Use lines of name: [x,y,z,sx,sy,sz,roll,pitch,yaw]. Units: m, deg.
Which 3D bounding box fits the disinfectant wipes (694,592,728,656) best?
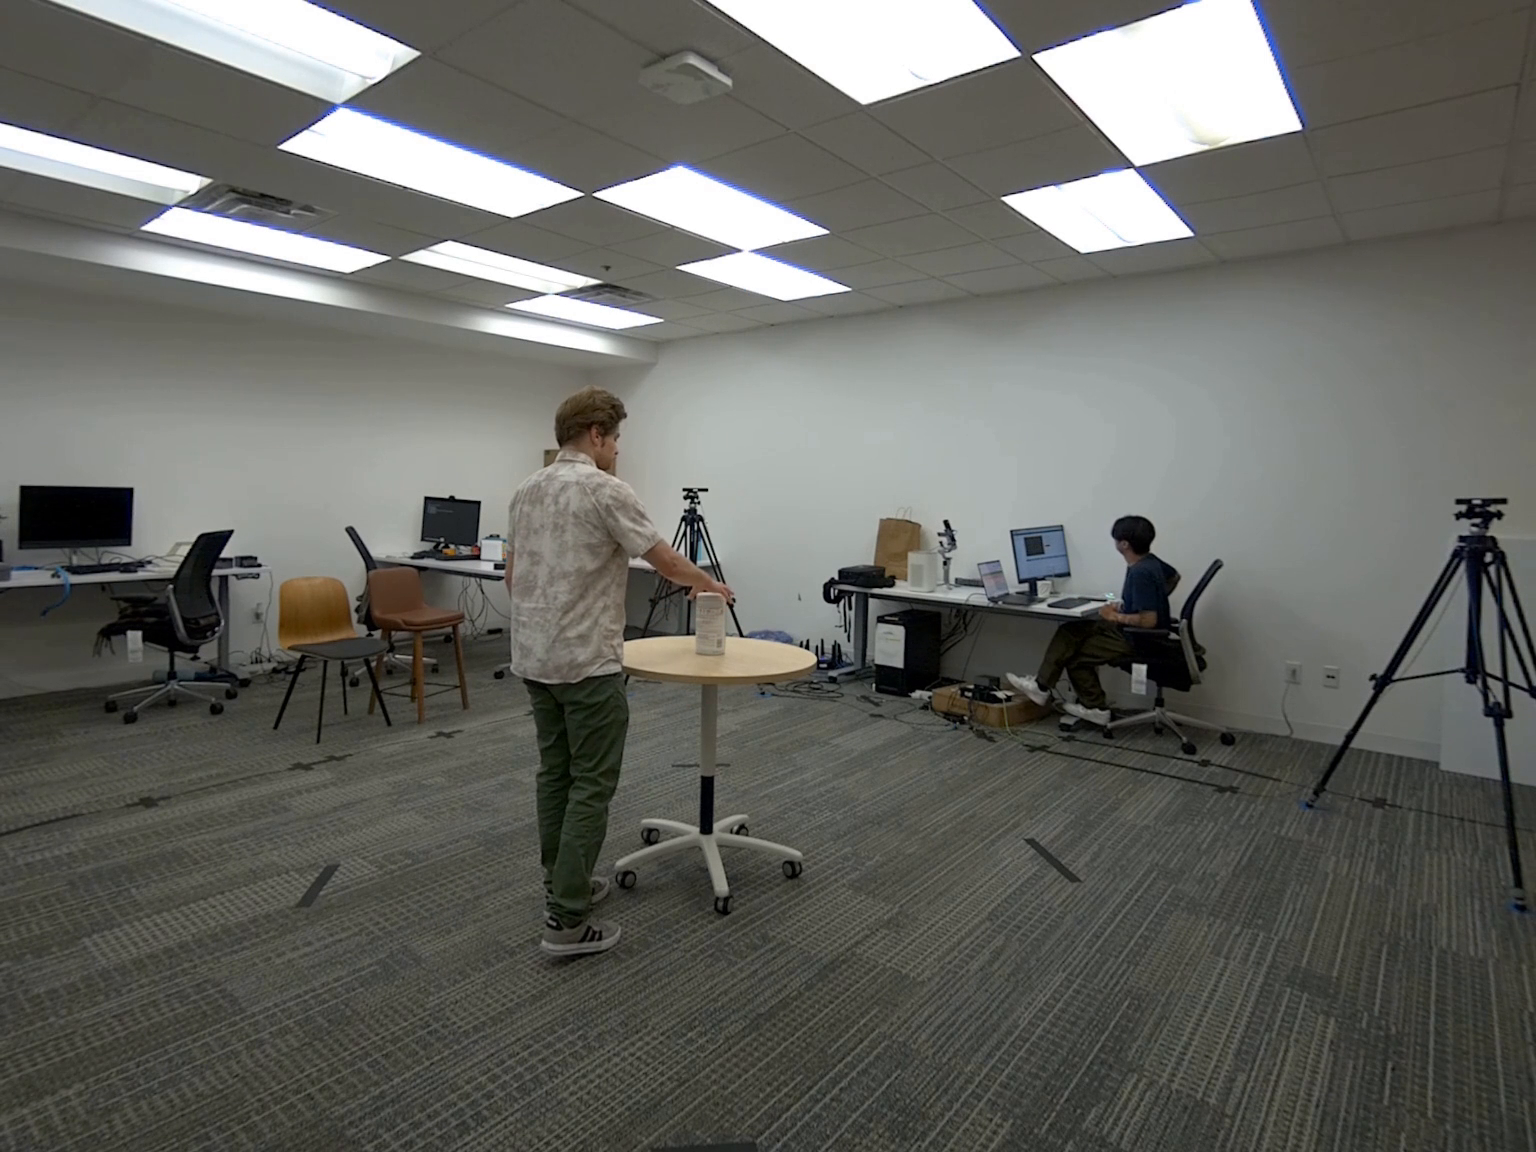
disinfectant wipes: [-0.215,0.171,3.077,0.118,0.217,0.118,1,2,-2]
